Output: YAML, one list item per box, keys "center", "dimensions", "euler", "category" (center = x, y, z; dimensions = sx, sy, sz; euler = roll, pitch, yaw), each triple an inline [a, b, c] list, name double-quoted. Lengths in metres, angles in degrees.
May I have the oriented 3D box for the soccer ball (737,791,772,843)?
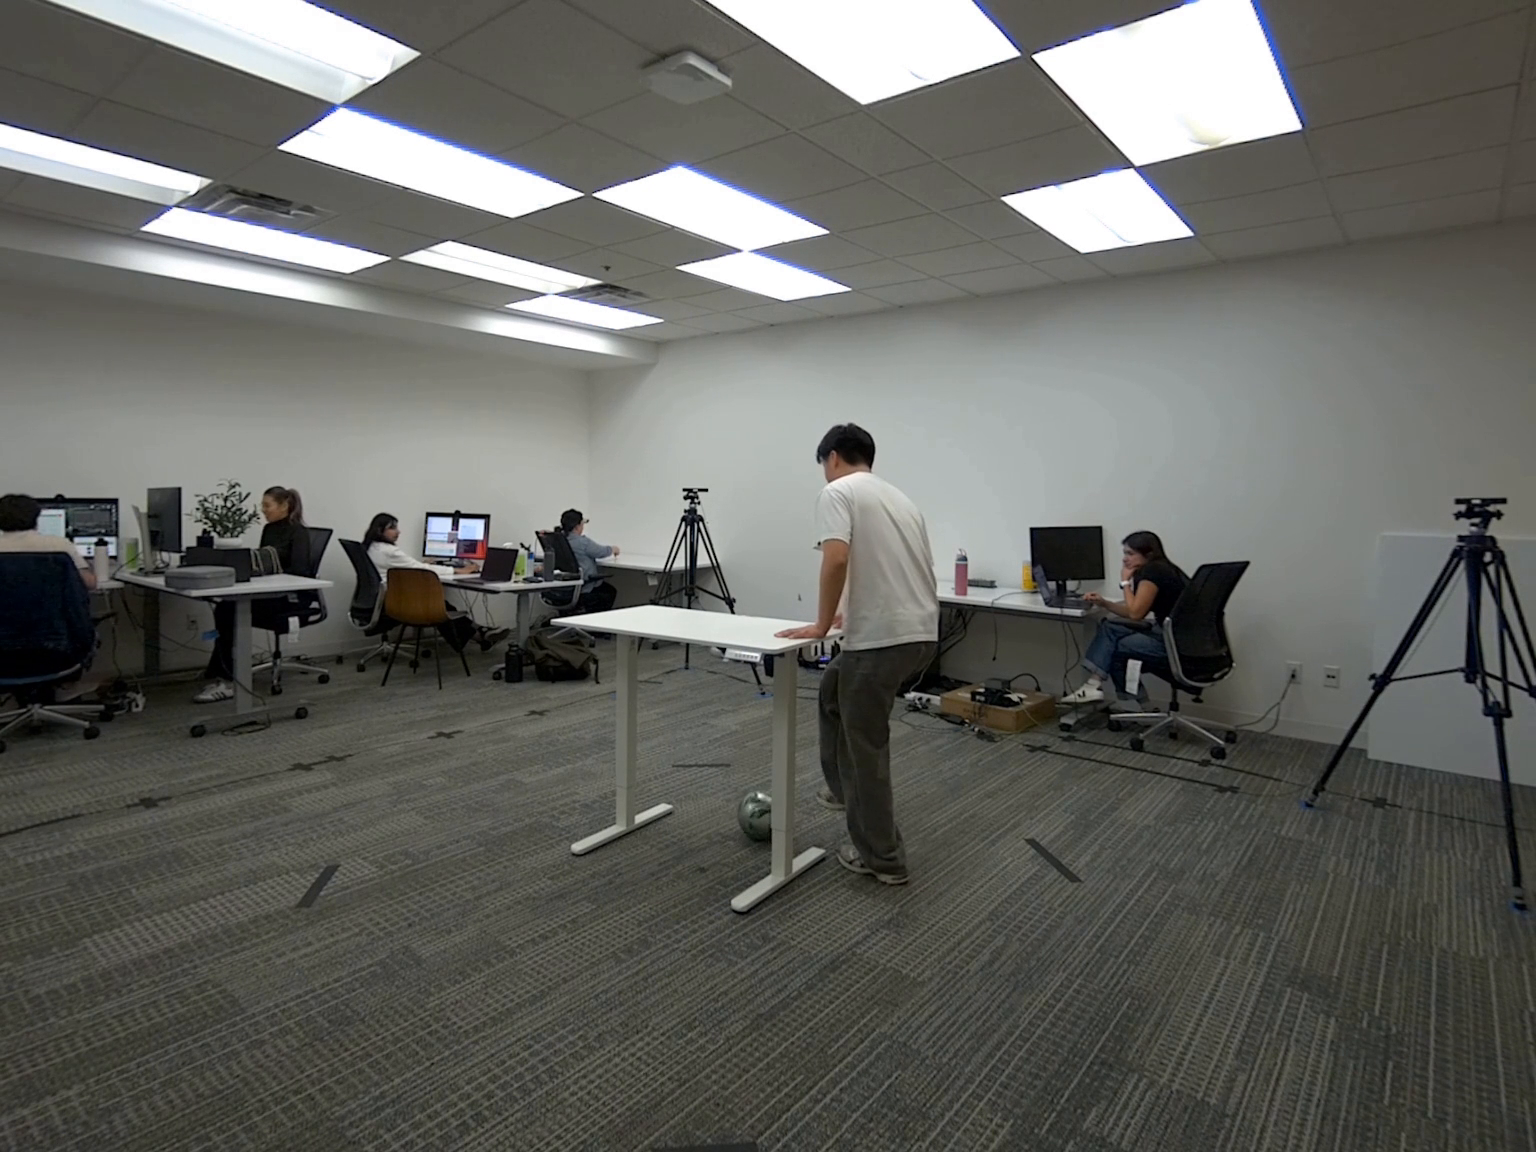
- center: [-0.024, 0.943, 3.404]
  dimensions: [0.187, 0.187, 0.188]
  euler: [1, 4, -2]
  category: "soccer ball"
